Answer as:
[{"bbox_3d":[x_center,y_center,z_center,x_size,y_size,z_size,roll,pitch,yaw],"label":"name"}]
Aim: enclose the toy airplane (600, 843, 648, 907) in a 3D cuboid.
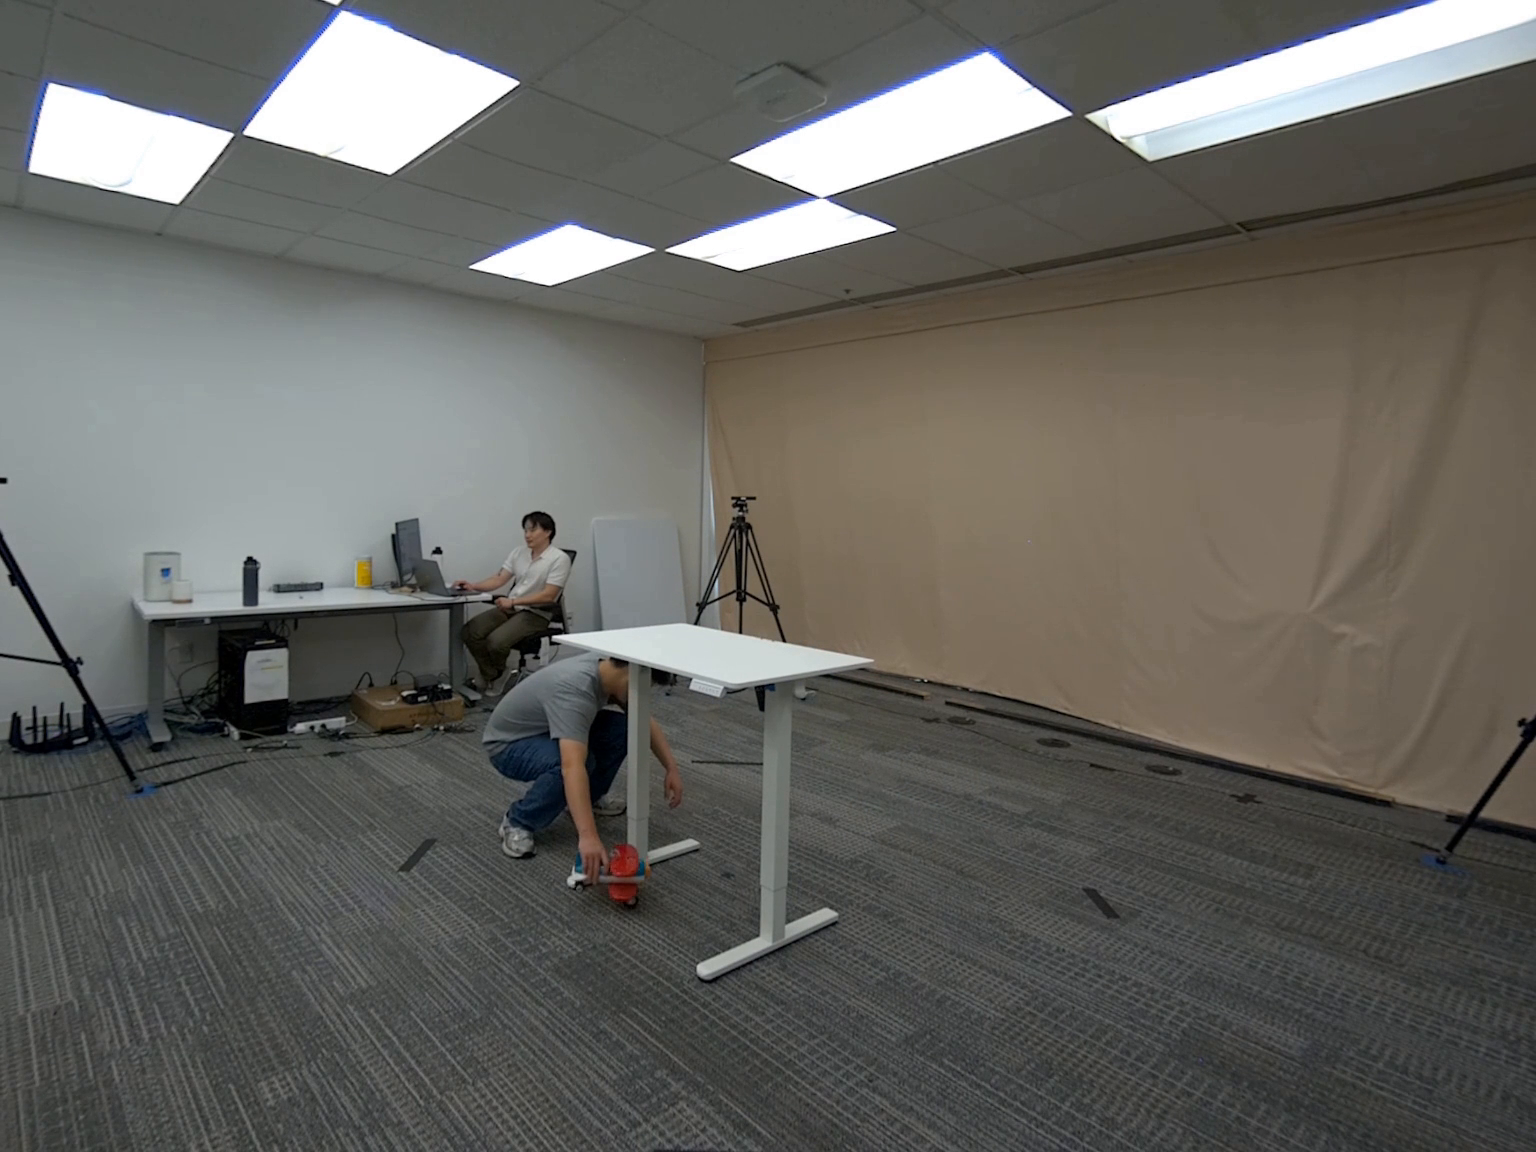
[{"bbox_3d":[-0.532,1.015,2.864,0.252,0.156,0.258,19,-1,-37],"label":"toy airplane"}]
